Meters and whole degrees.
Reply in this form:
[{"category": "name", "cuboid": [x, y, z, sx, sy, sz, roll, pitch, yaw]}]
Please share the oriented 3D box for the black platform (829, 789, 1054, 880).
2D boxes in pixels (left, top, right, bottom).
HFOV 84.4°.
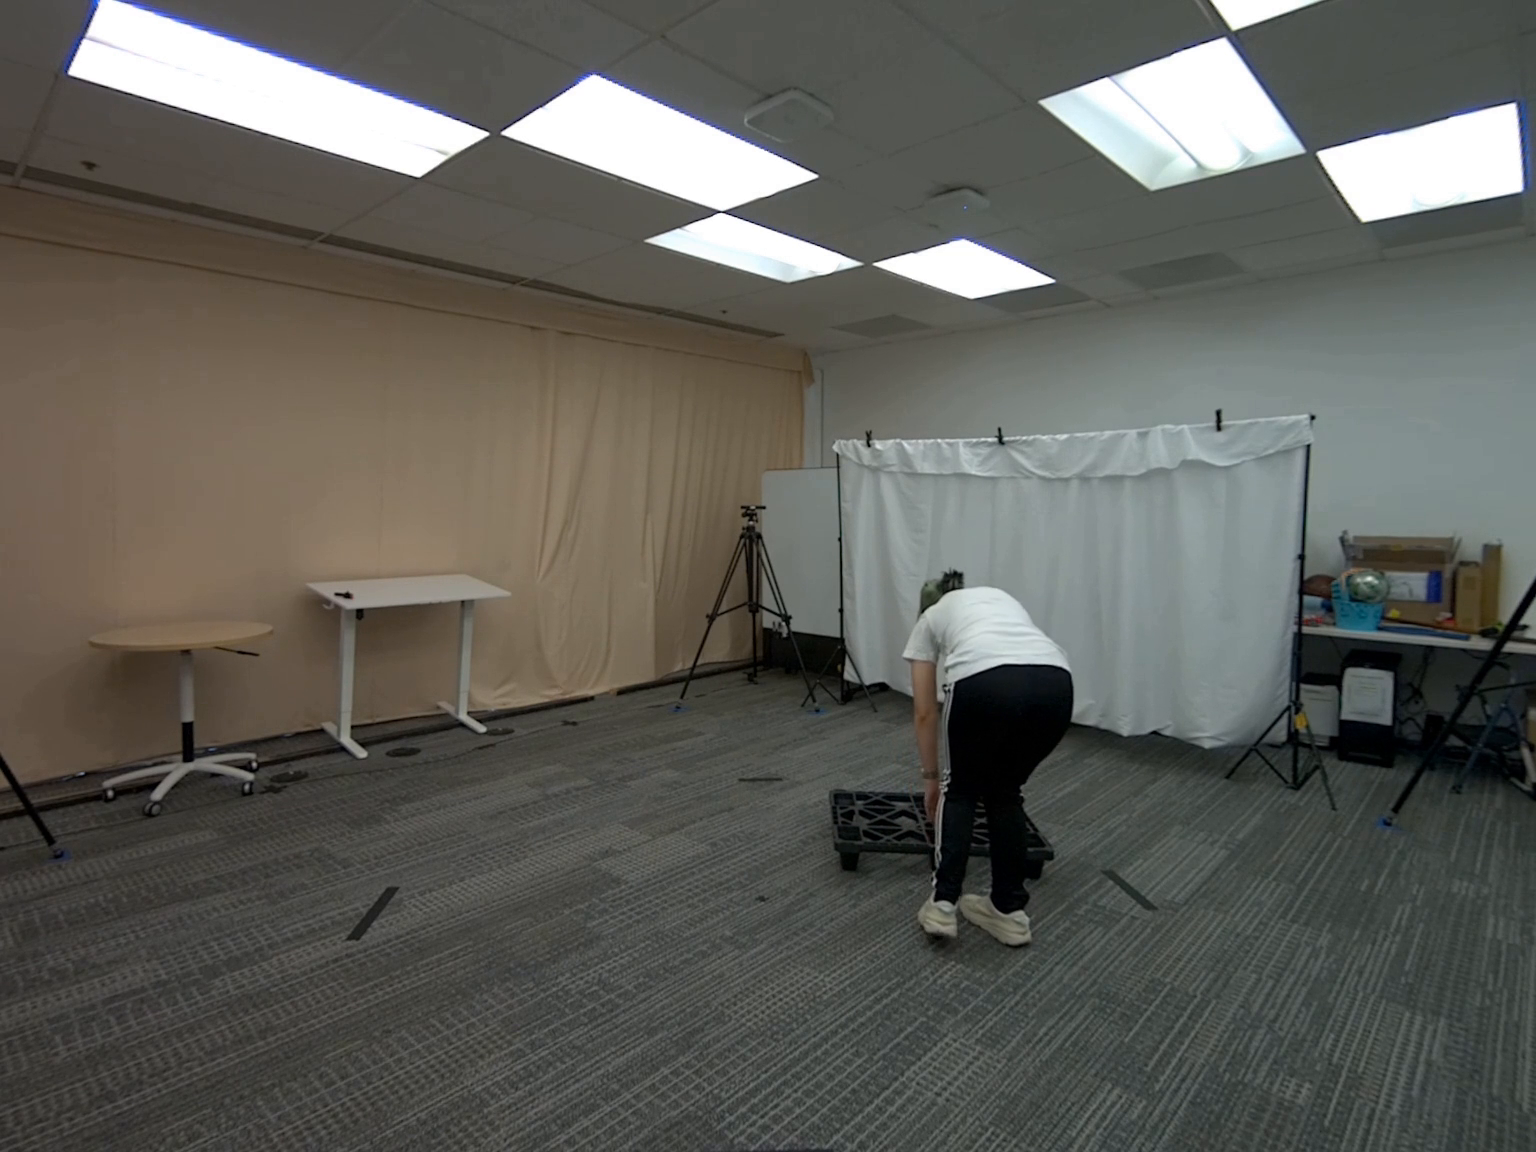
[{"category": "black platform", "cuboid": [0.659, 1.037, 3.401, 0.810, 0.143, 0.603, 0, 4, 4]}]
